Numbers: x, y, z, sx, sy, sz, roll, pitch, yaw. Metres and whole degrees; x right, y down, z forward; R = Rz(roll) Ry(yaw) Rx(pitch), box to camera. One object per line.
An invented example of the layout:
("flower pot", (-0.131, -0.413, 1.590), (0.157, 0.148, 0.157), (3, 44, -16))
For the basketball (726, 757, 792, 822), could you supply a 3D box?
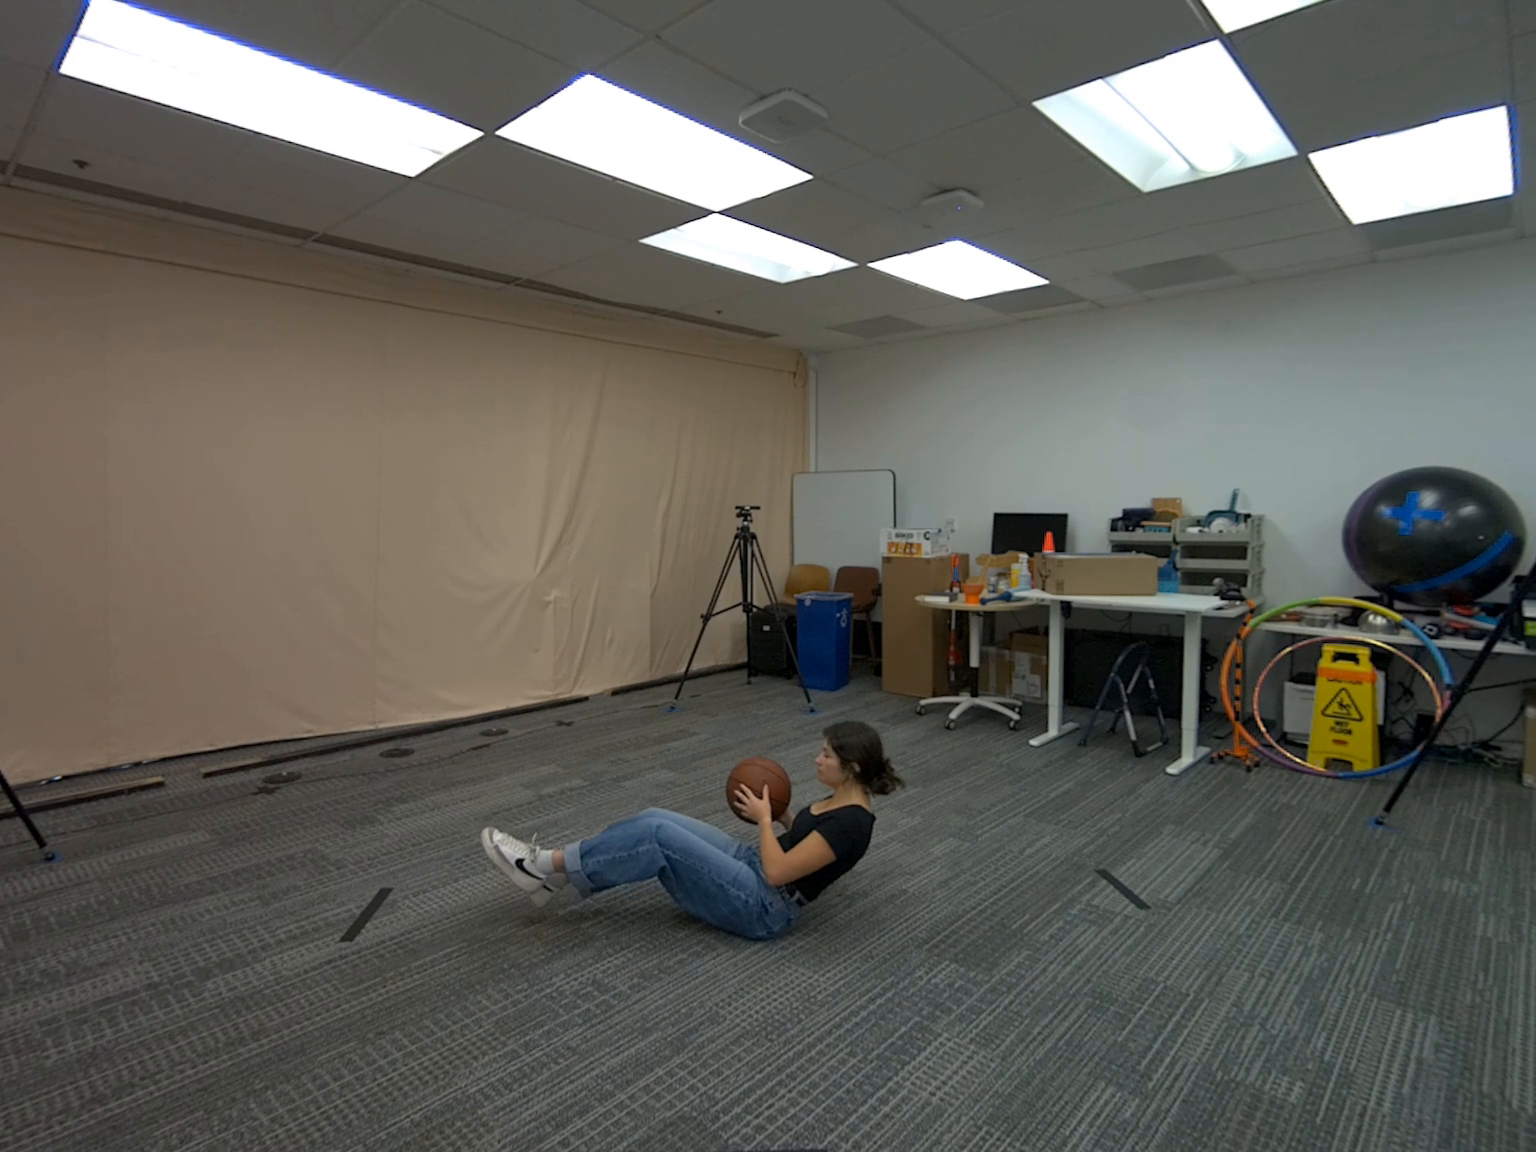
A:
("basketball", (-0.035, 0.775, 3.041), (0.236, 0.235, 0.237), (0, 4, -2))
